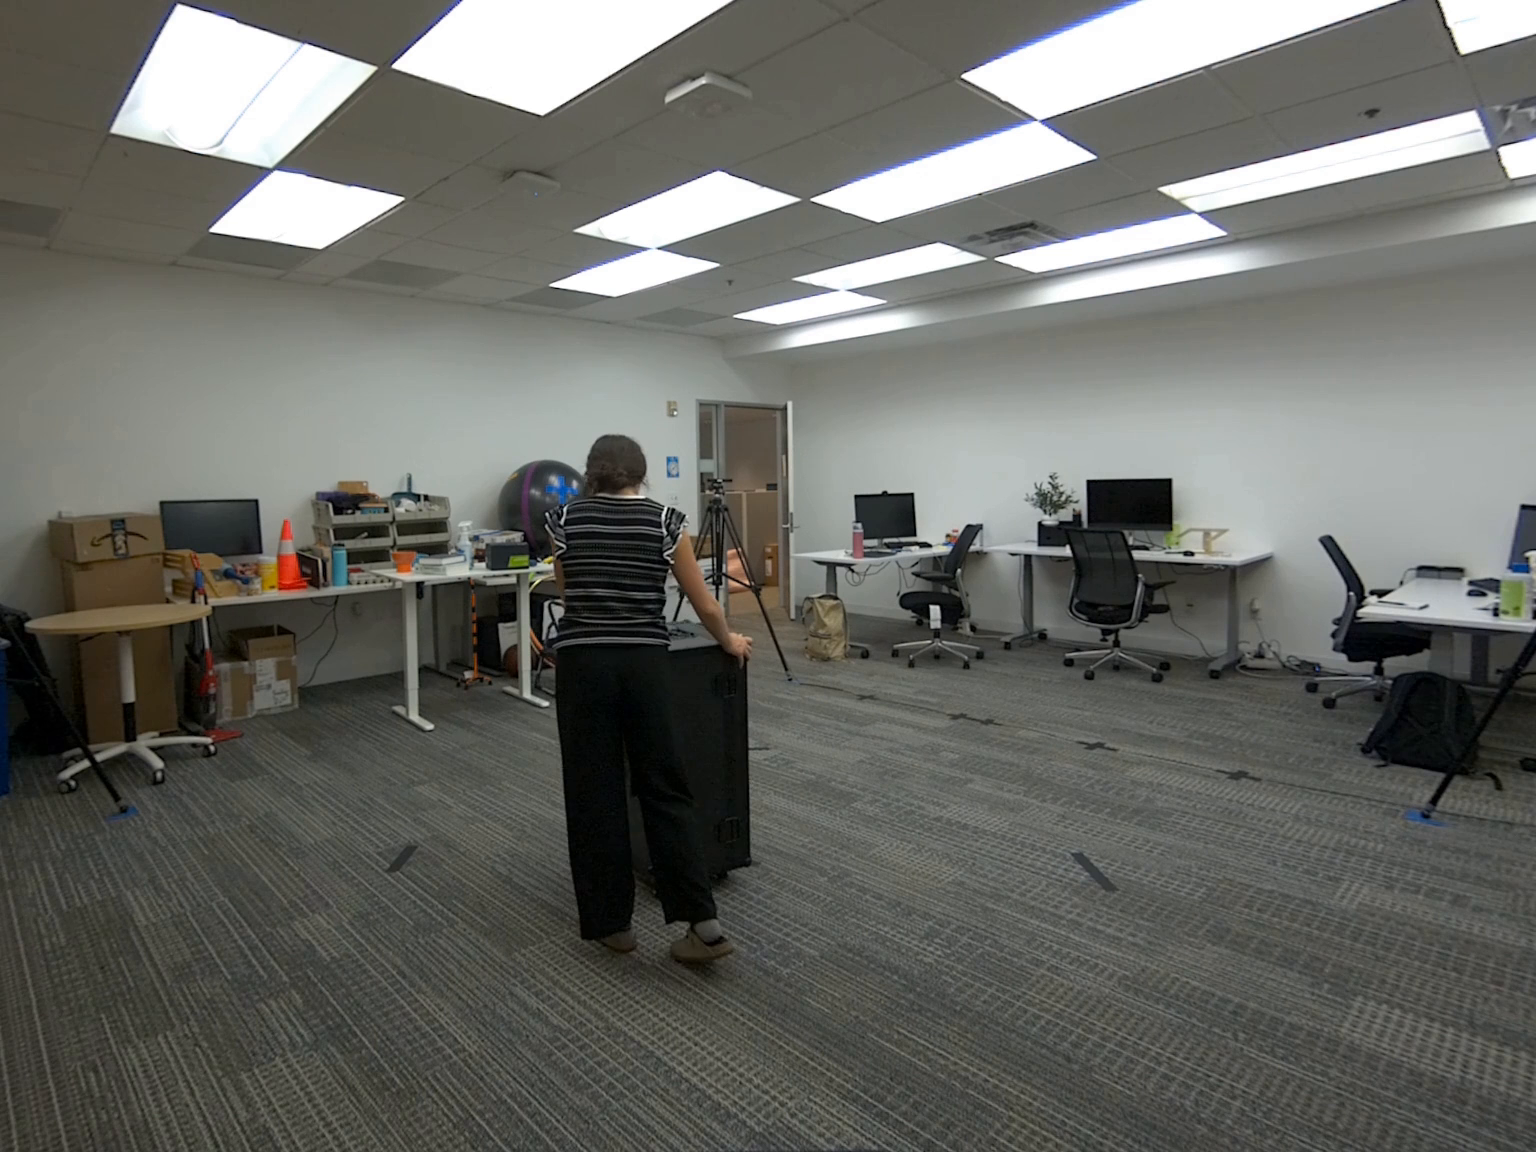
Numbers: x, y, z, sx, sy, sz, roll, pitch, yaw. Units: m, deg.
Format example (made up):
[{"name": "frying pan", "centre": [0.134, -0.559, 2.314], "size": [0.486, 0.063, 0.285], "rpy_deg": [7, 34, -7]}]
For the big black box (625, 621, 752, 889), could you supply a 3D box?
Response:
[{"name": "big black box", "centre": [-0.337, 0.635, 3.033], "size": [0.387, 0.858, 0.535], "rpy_deg": [-4, 5, -29]}]
